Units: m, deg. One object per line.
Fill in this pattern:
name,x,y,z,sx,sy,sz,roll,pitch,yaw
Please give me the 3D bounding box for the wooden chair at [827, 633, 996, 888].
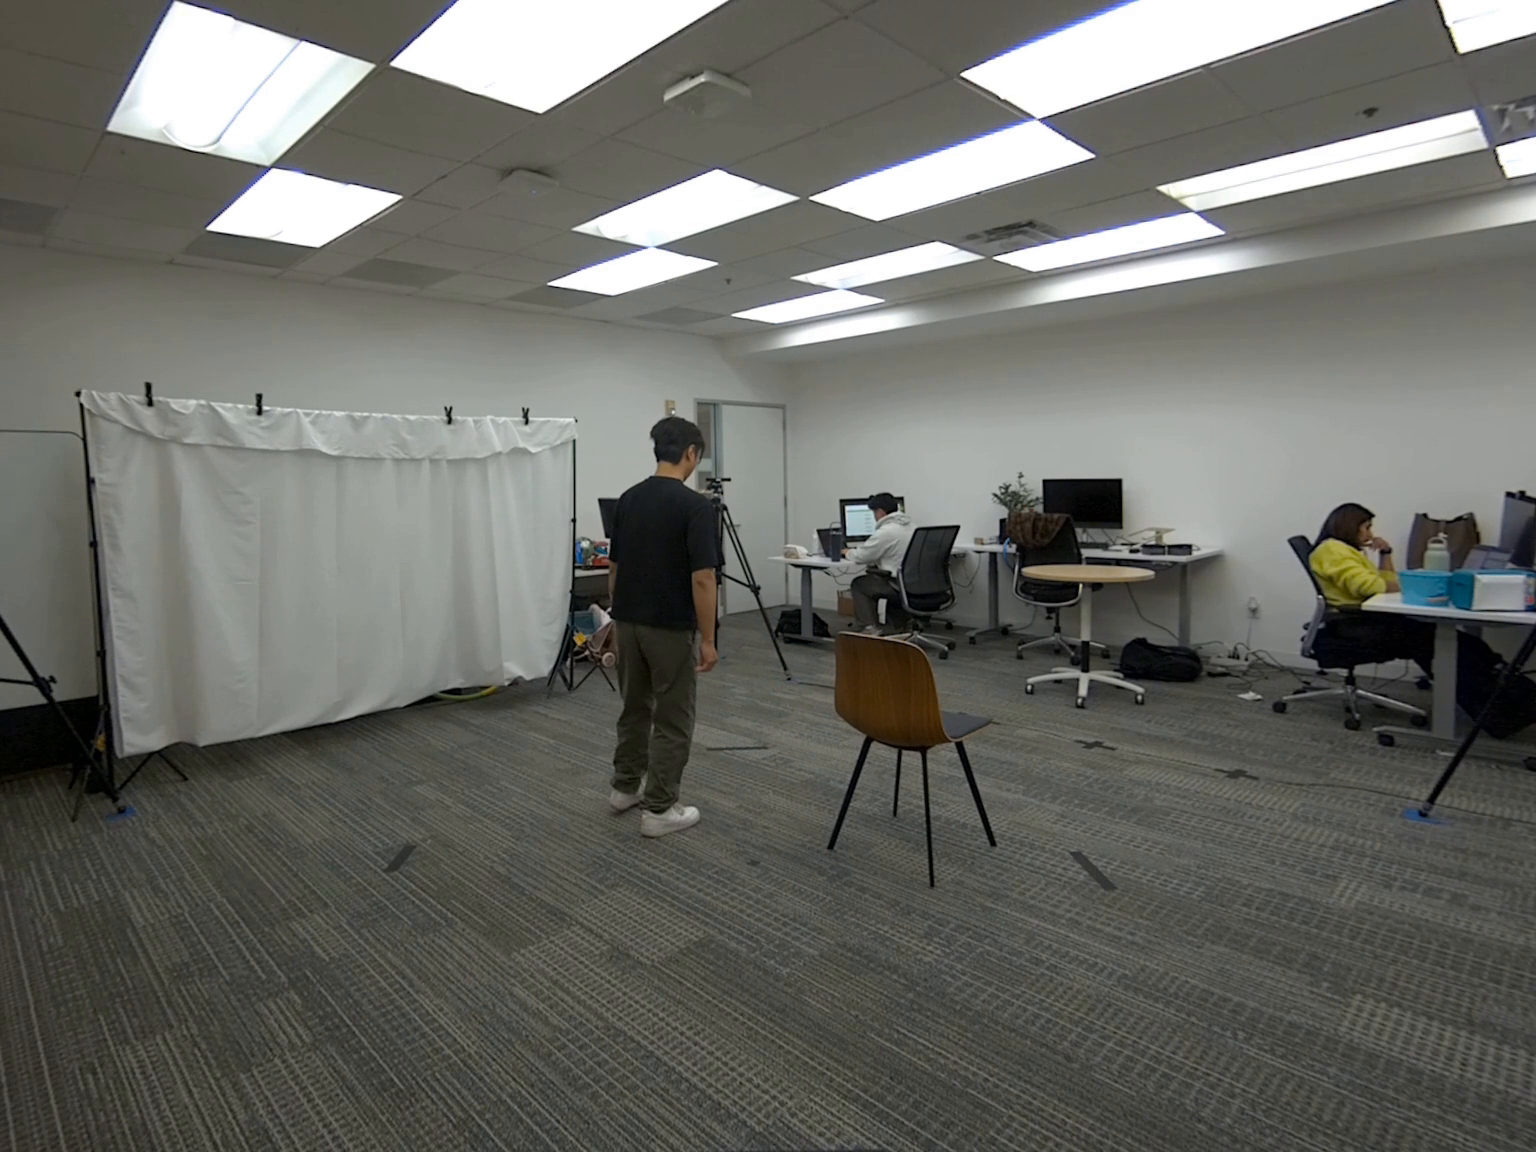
wooden chair,0.543,0.599,3.181,0.492,0.872,0.511,2,9,44
